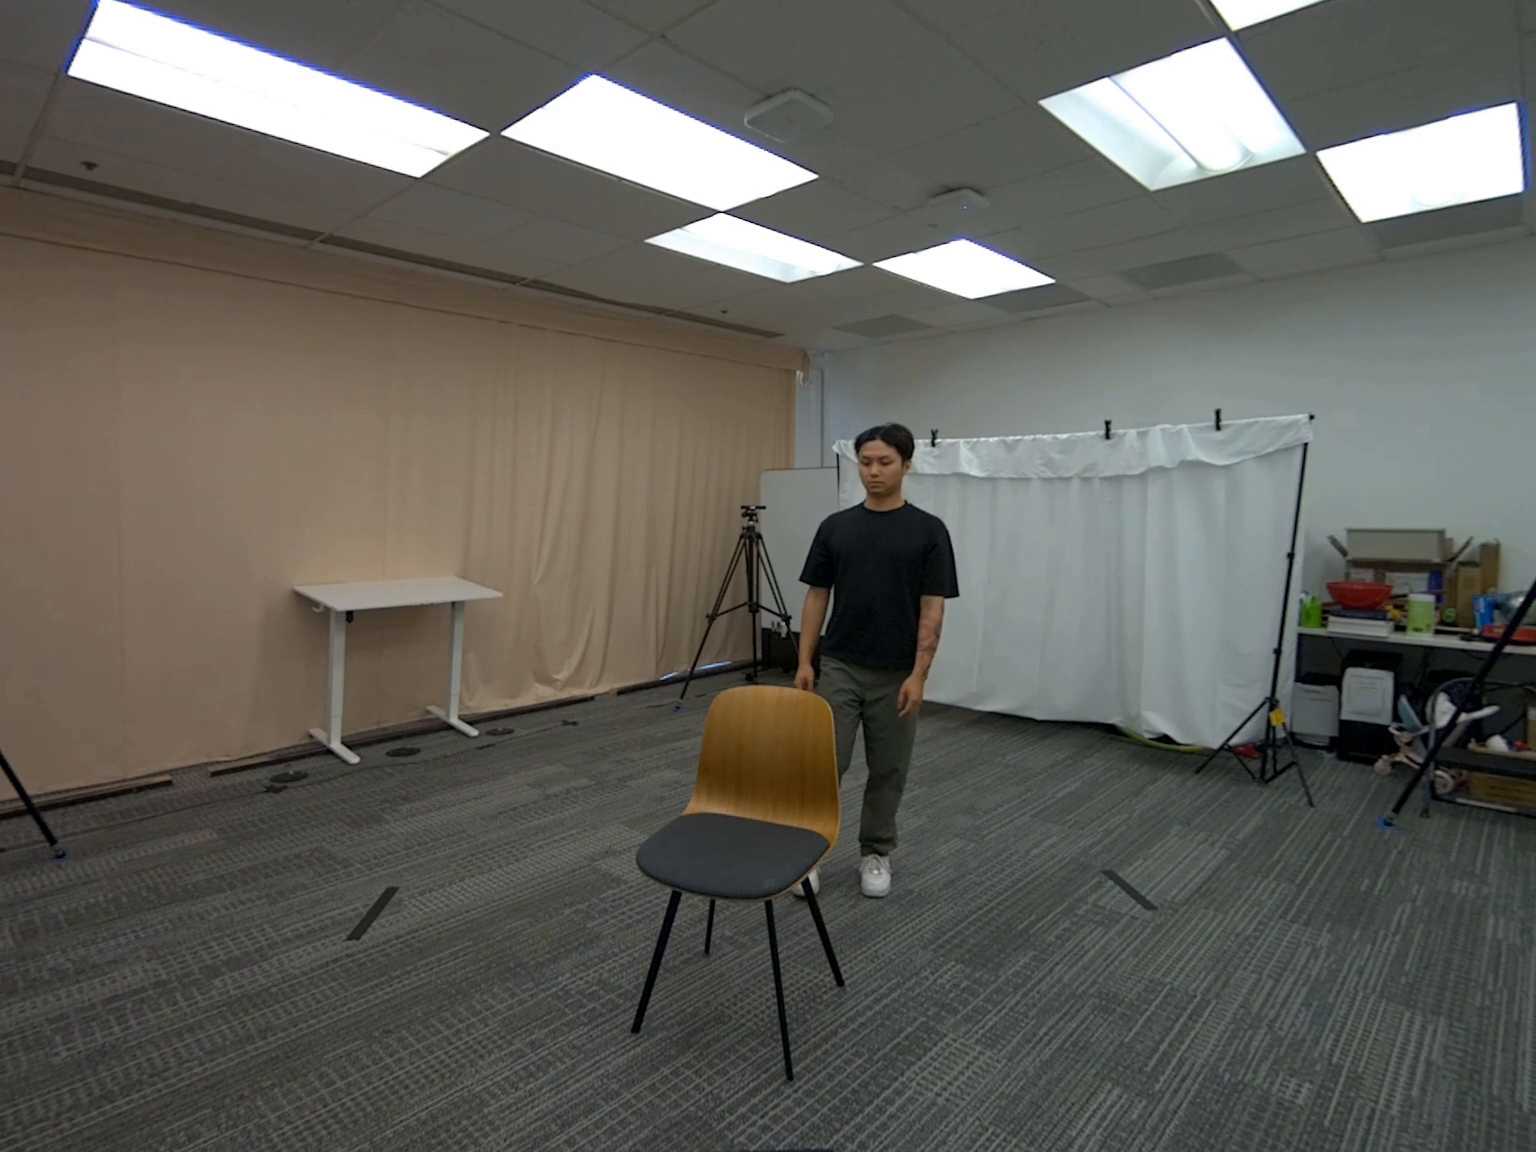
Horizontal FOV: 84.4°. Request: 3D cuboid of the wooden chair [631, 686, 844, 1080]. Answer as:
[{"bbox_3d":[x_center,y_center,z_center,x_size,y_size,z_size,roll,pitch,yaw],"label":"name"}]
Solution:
[{"bbox_3d":[-0.066,0.772,2.297,0.490,0.878,0.510,2,-1,24],"label":"wooden chair"}]
